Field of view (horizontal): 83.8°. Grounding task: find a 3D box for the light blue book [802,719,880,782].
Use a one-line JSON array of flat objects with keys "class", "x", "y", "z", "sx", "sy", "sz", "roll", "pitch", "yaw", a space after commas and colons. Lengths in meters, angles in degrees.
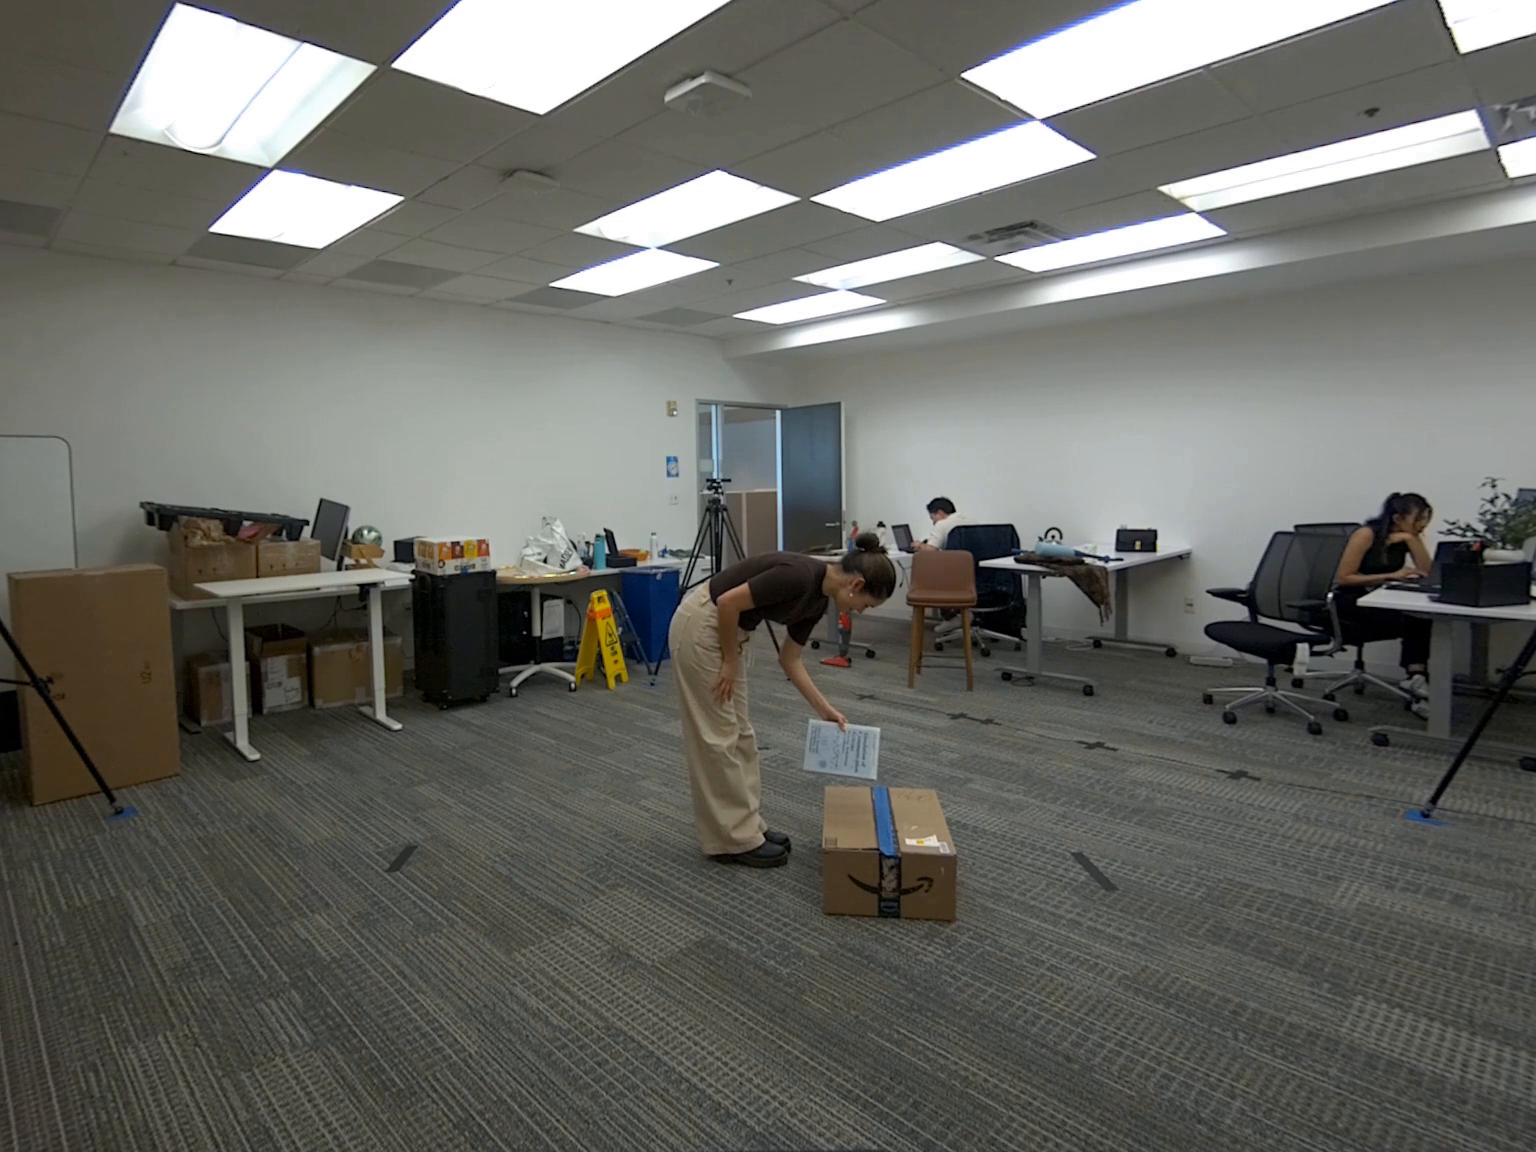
[{"class": "light blue book", "x": 0.267, "y": 0.632, "z": 3.113, "sx": 0.264, "sy": 0.194, "sz": 0.057, "roll": 5, "pitch": -23, "yaw": 10}]
